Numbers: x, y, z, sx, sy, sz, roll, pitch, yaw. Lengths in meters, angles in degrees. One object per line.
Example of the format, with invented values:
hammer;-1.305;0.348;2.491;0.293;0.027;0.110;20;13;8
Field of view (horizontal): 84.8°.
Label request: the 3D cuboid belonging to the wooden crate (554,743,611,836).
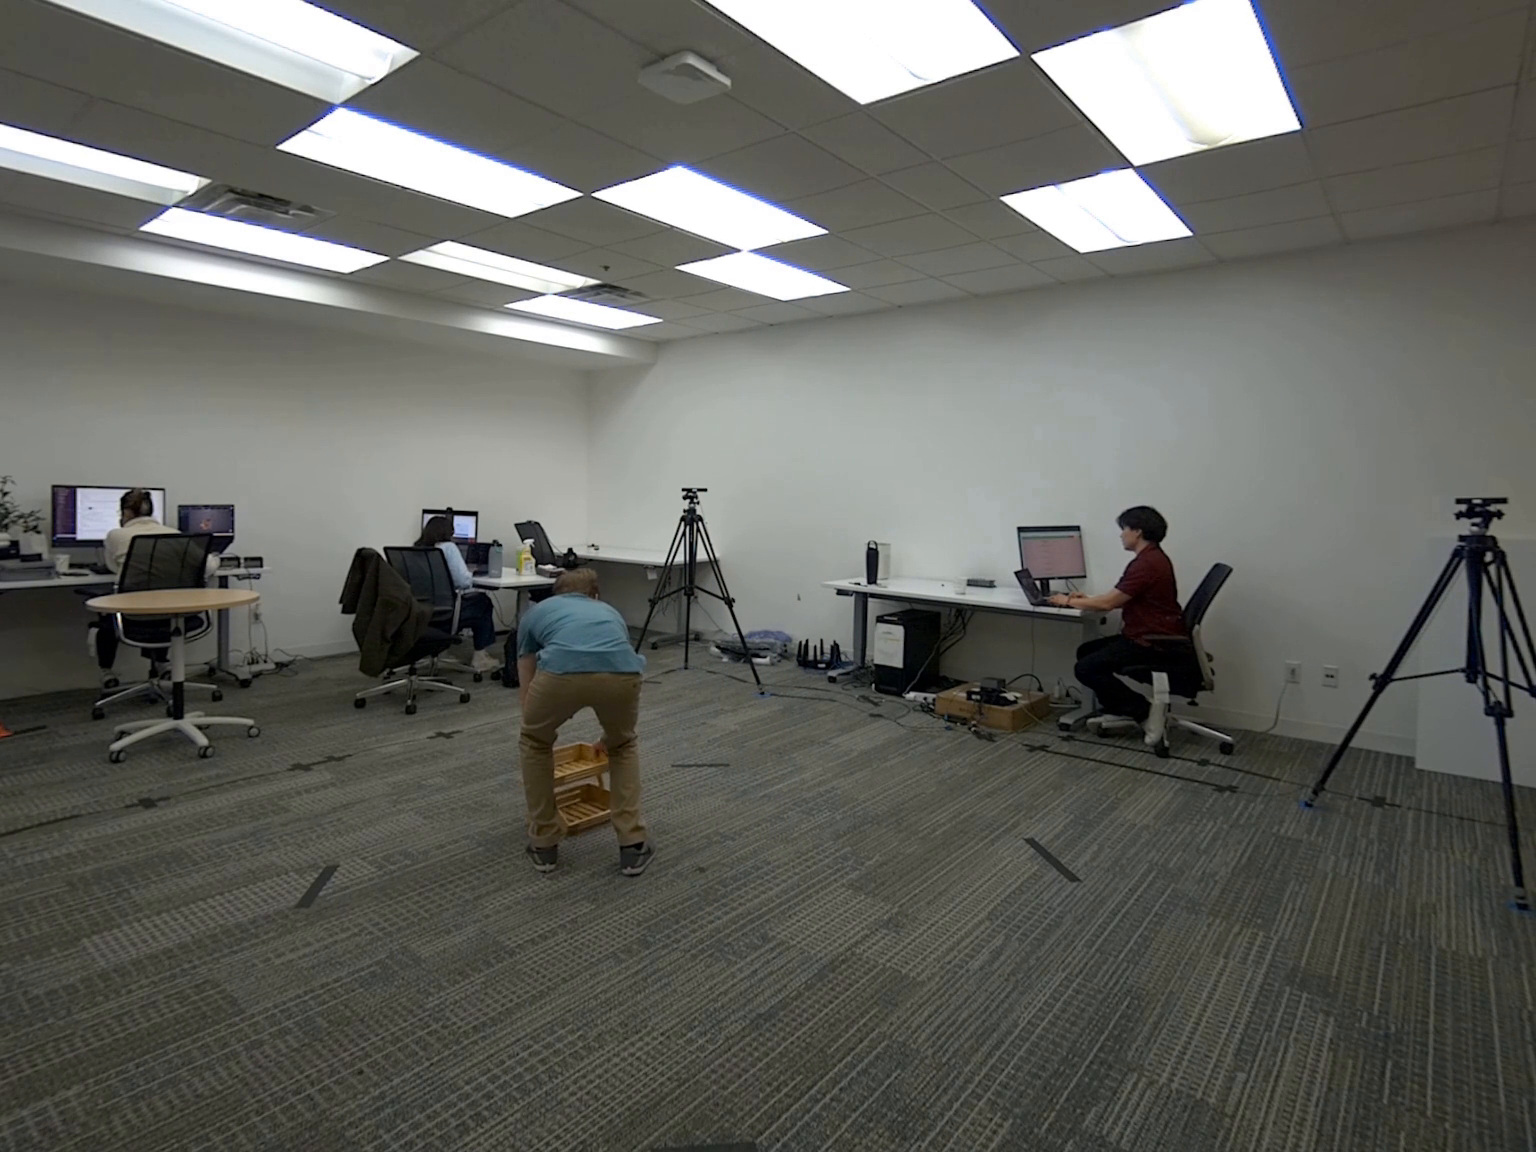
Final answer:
wooden crate;-0.825;0.883;3.584;0.312;0.272;0.315;3;5;41
